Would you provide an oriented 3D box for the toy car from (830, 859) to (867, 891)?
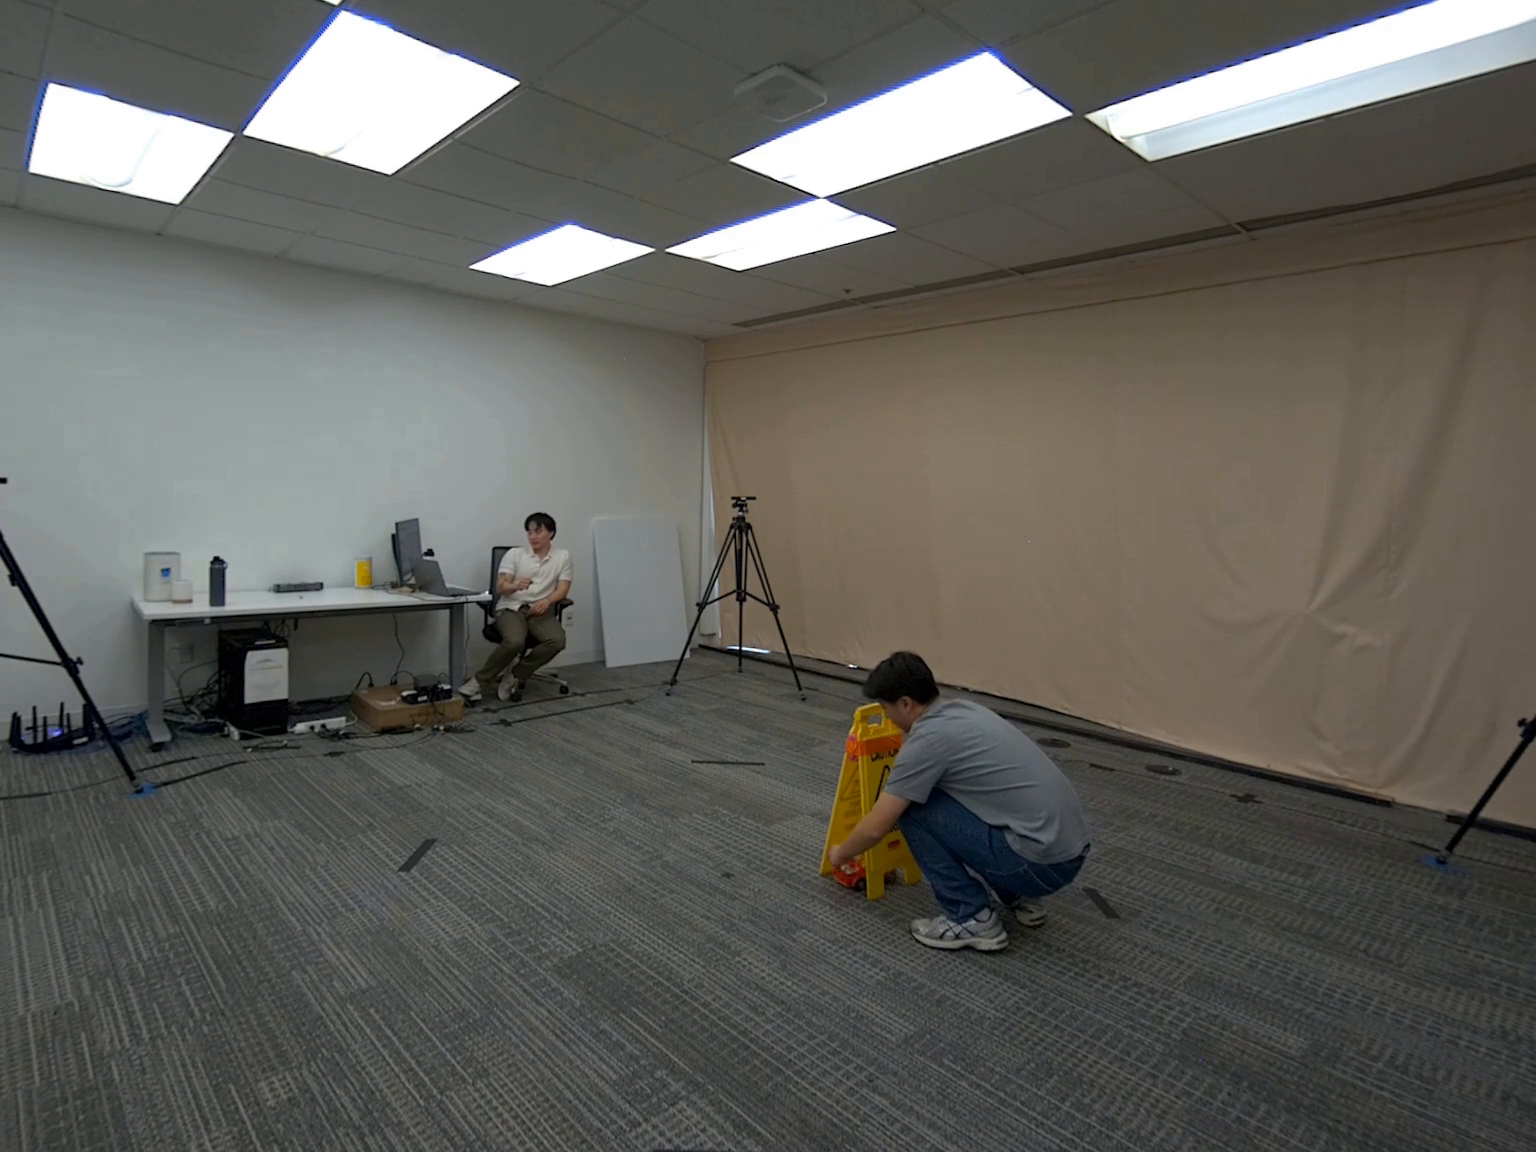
[{"bbox_3d":[0.341,1.086,3.069,0.248,0.083,0.133,8,2,-31],"label":"toy car"}]
